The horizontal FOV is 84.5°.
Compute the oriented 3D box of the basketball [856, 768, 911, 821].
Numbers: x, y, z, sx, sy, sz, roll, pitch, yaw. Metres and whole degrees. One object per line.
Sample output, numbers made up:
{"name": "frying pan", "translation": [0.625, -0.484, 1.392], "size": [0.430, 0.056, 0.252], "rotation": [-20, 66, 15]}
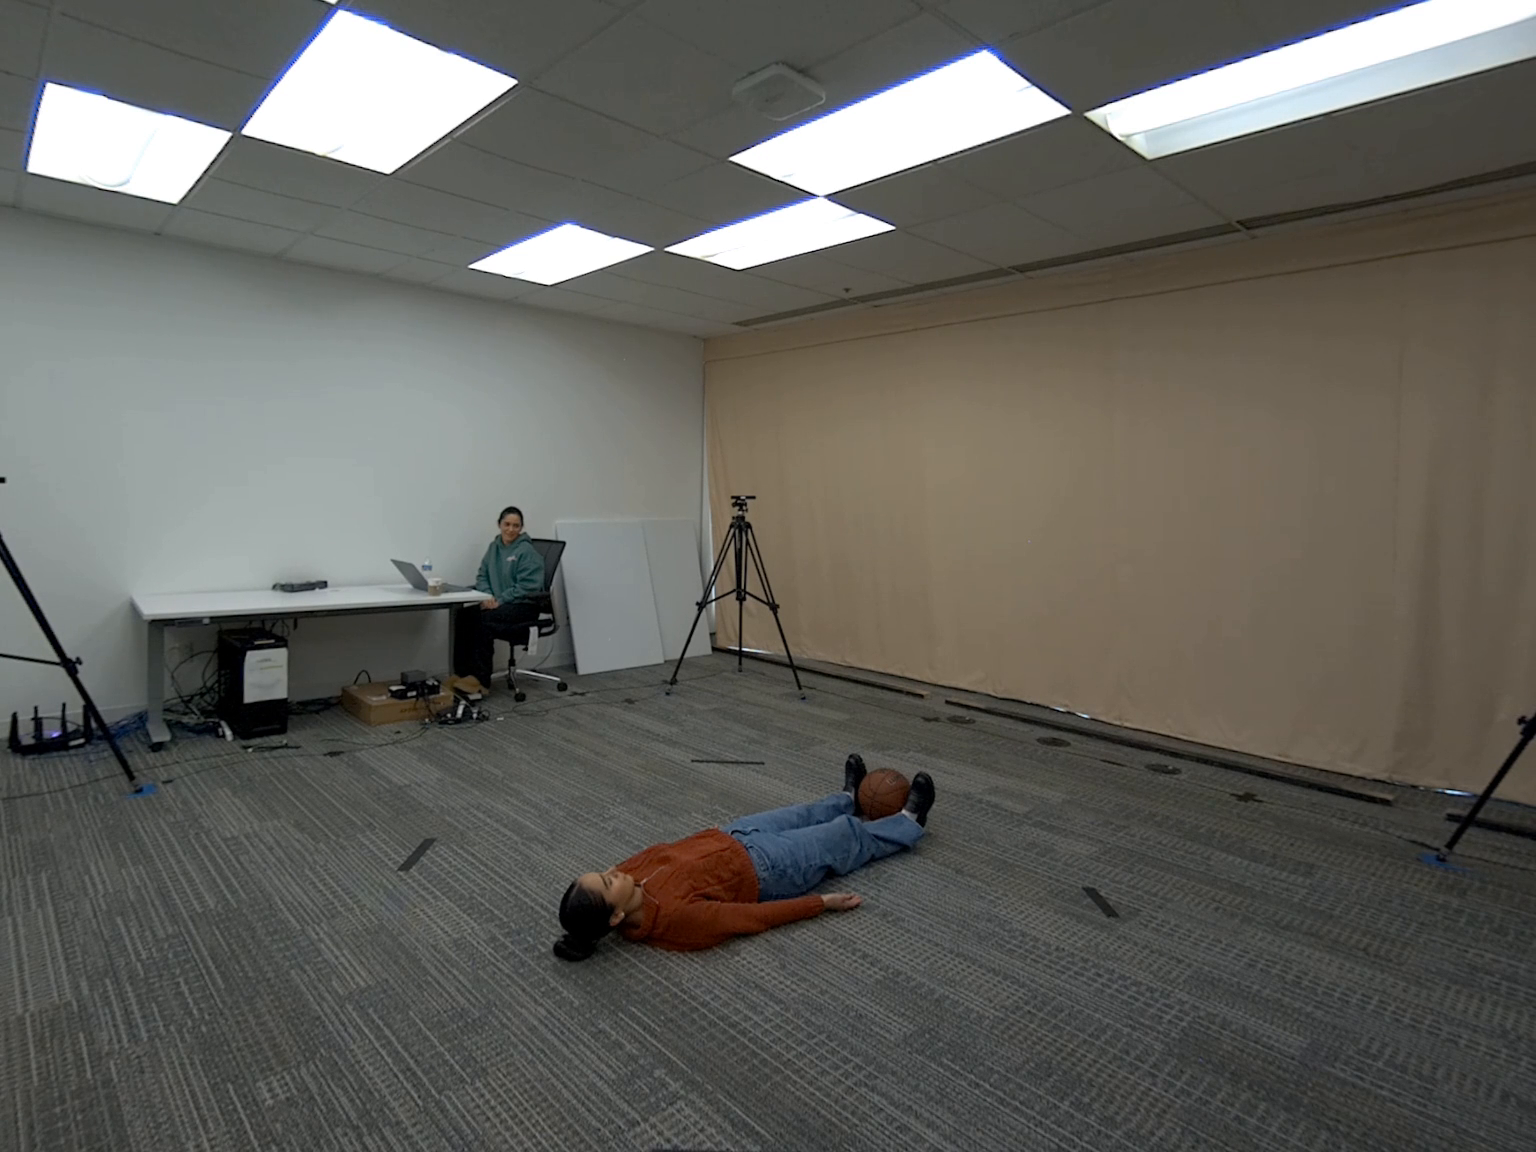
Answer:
{"name": "basketball", "translation": [0.500, 0.949, 3.645], "size": [0.236, 0.235, 0.237], "rotation": [1, 4, -1]}
